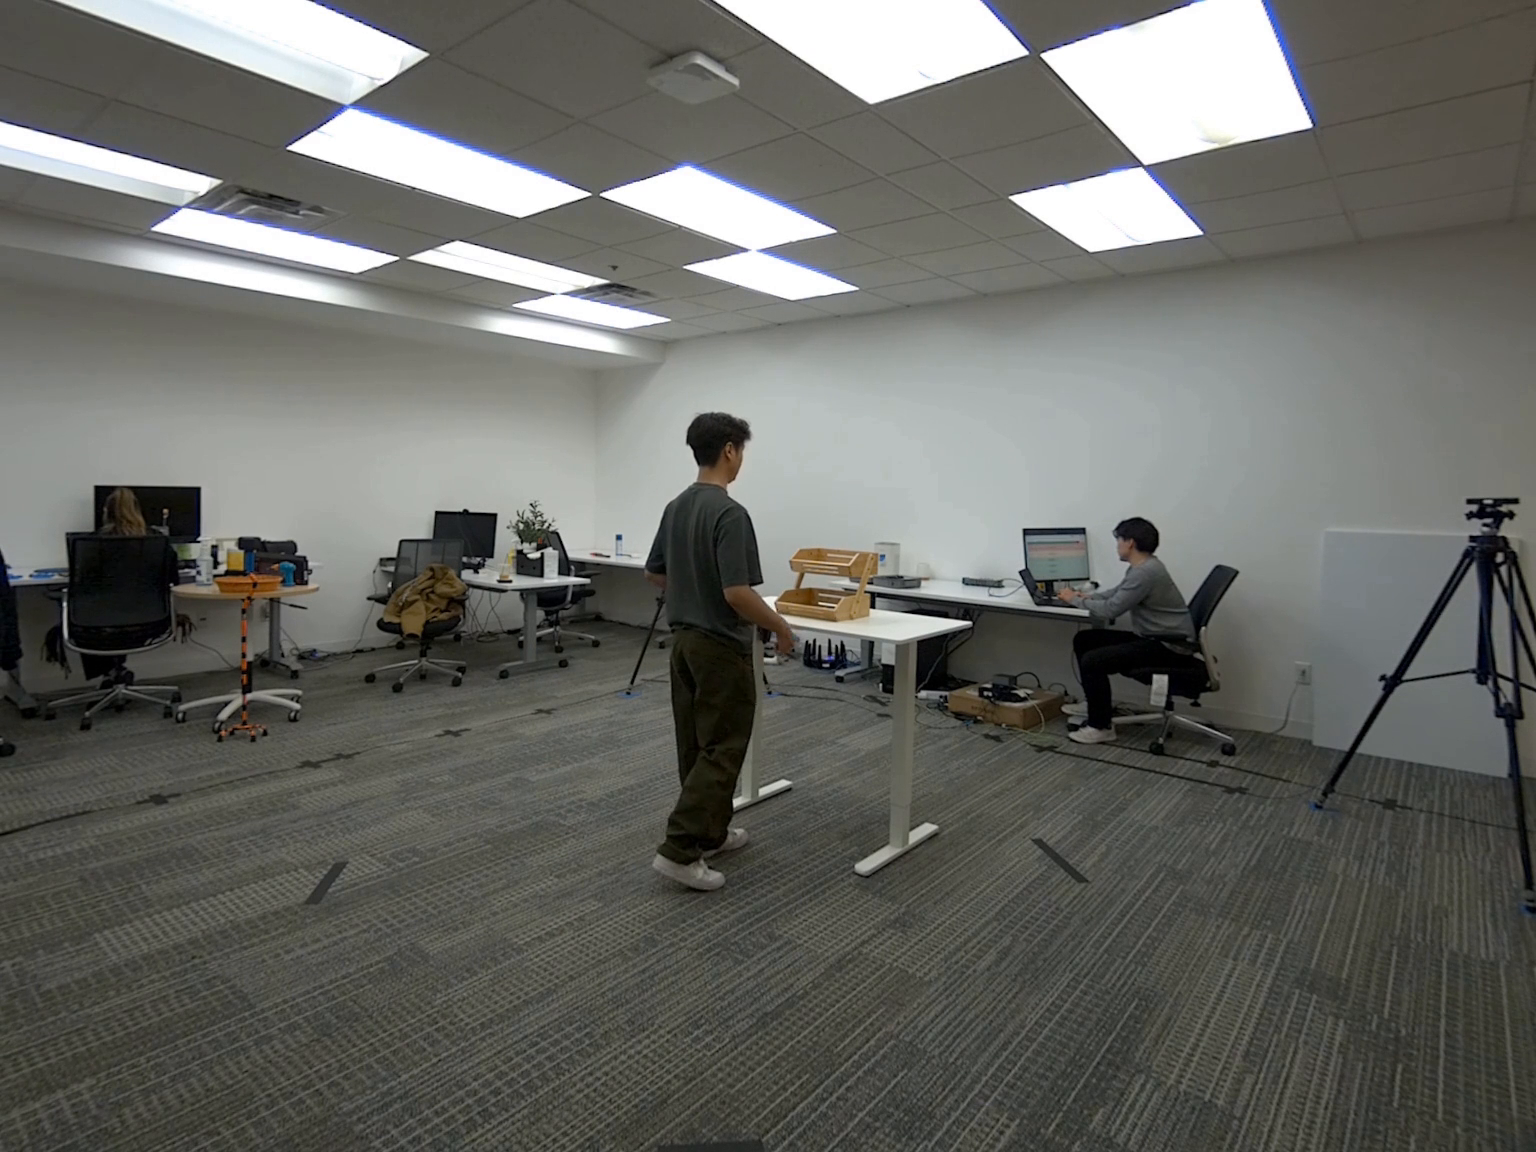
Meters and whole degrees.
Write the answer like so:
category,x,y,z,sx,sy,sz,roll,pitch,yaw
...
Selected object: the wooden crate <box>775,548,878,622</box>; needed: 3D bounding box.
category,x,y,z,sx,sy,sz,roll,pitch,yaw
wooden crate,0.231,0.021,3.496,0.335,0.272,0.293,6,6,40
